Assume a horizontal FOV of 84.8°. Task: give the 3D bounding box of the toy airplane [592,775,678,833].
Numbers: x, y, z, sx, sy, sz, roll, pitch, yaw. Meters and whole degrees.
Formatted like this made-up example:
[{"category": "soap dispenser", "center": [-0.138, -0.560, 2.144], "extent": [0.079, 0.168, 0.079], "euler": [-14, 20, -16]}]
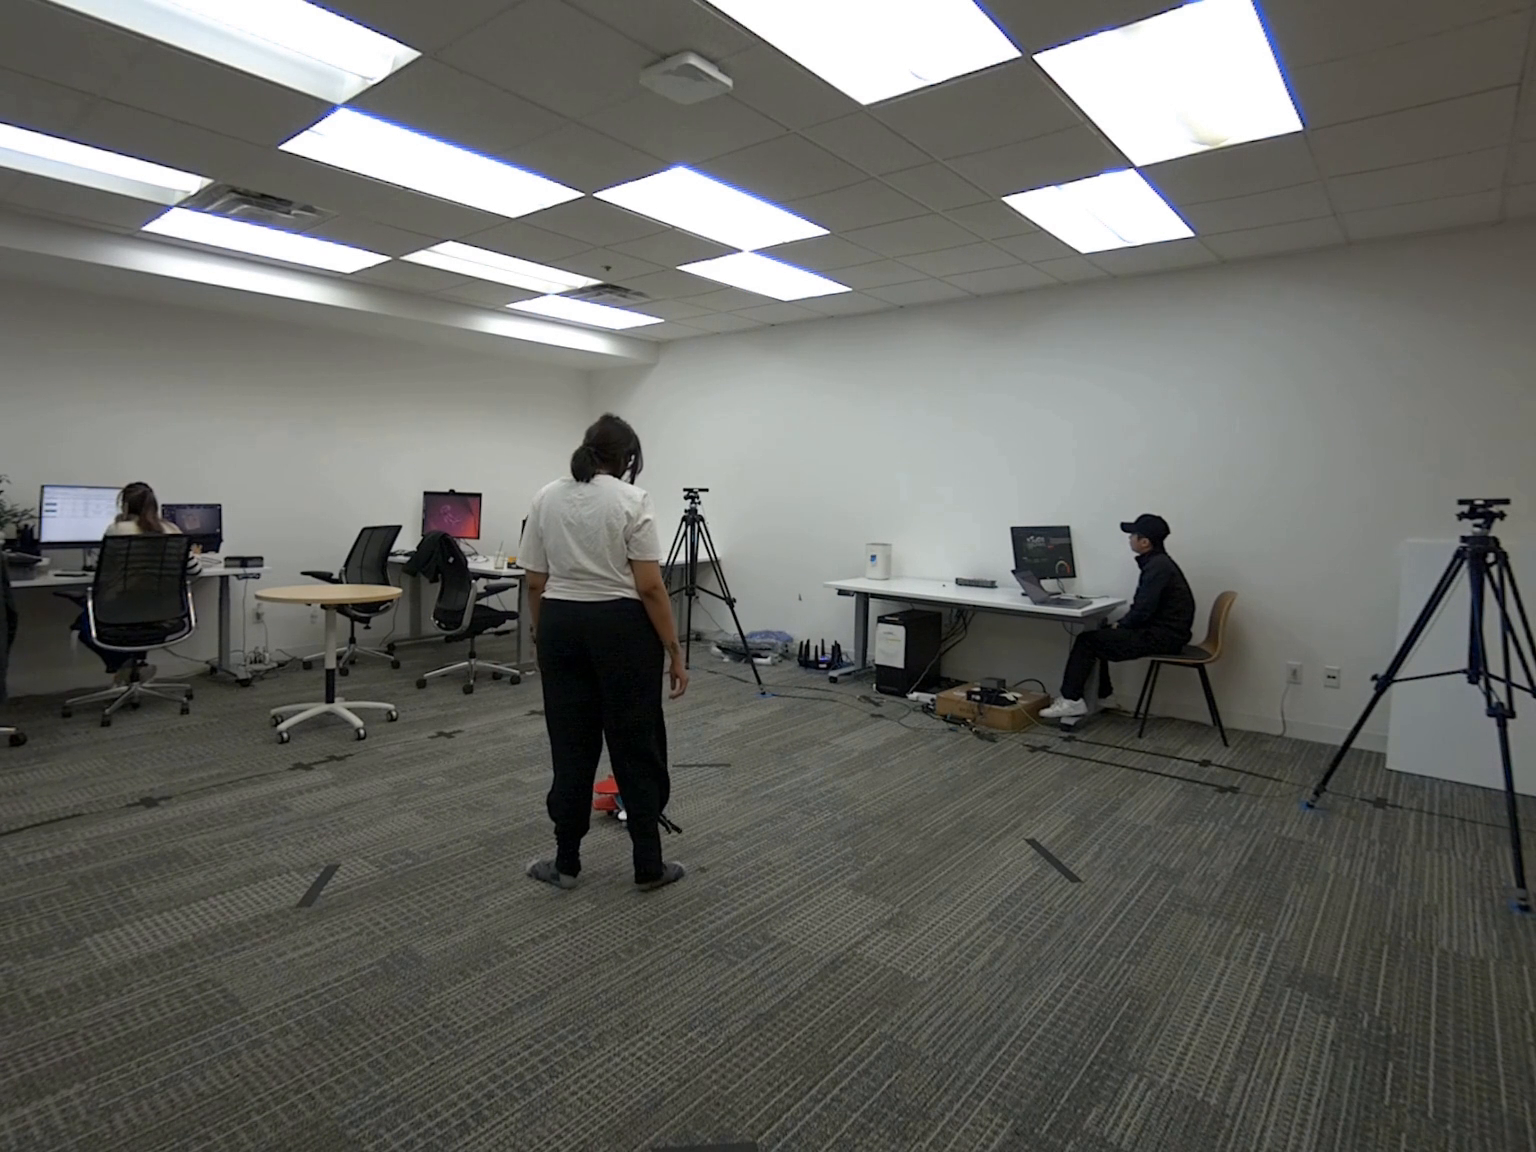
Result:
[{"category": "toy airplane", "center": [-0.601, 0.946, 3.580], "extent": [0.268, 0.156, 0.244], "euler": [4, 5, 39]}]
